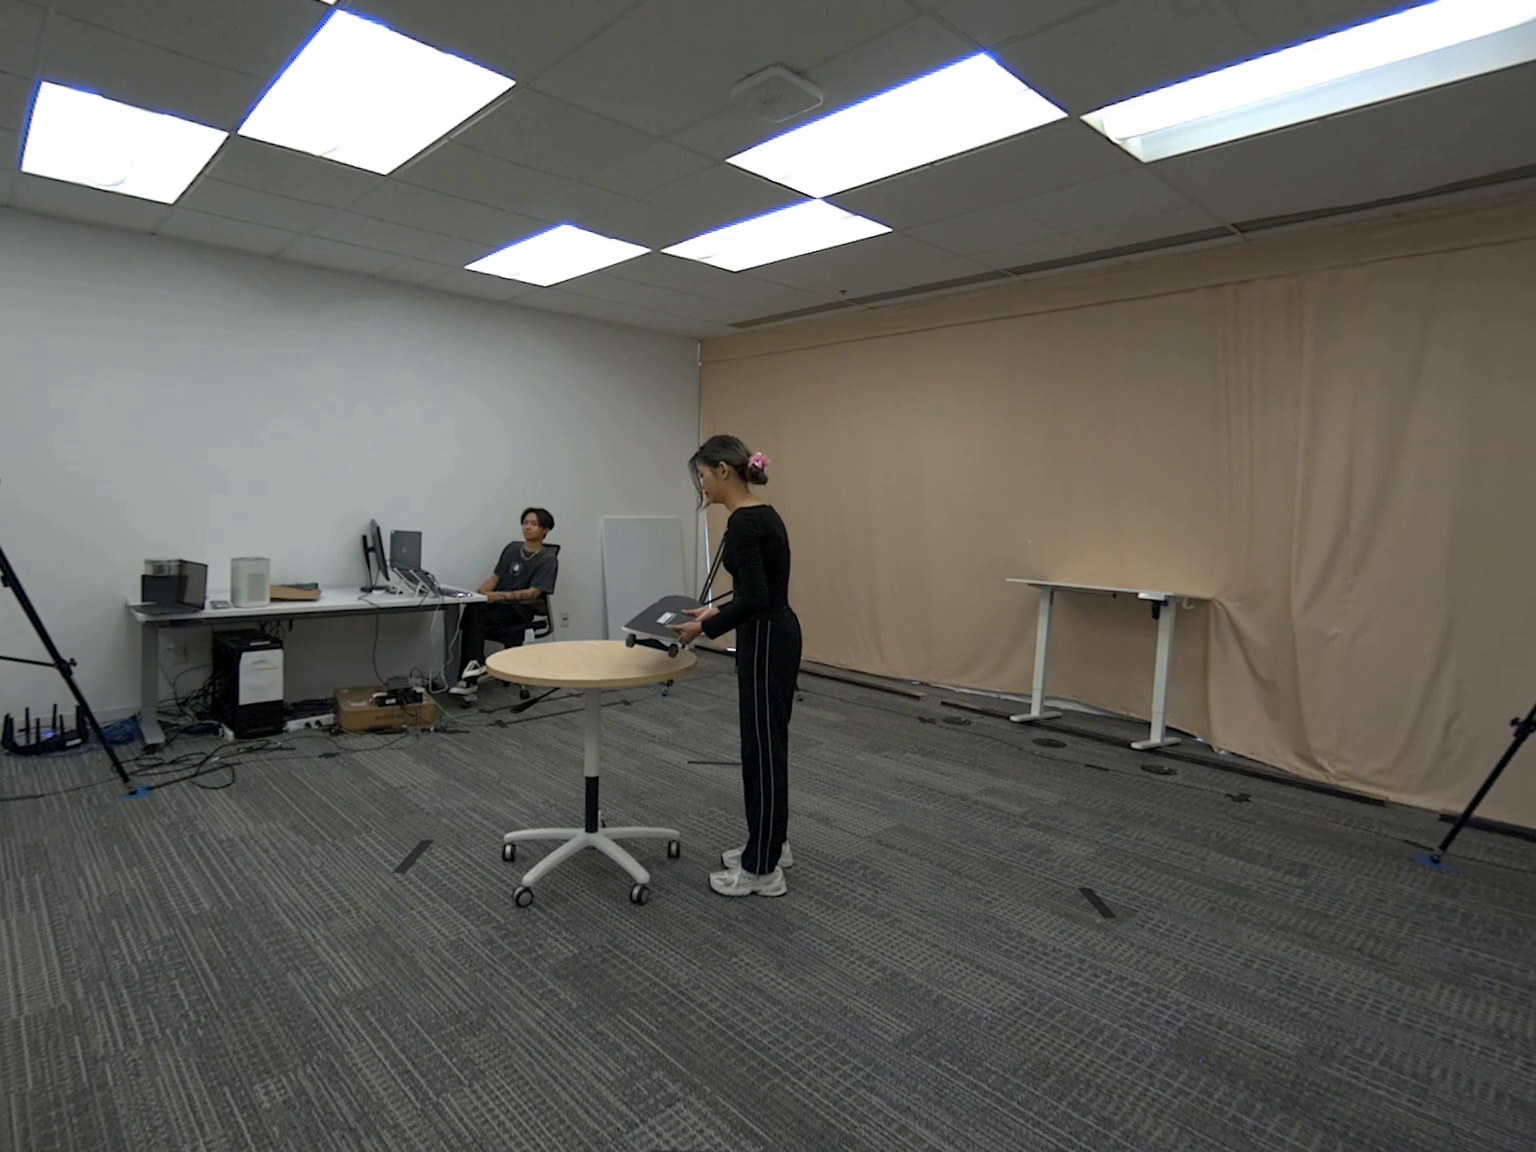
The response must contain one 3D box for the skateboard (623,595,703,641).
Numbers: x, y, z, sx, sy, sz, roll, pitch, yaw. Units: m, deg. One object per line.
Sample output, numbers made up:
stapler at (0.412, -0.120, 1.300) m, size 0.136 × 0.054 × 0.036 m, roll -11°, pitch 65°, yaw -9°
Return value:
skateboard at (-0.372, 0.195, 3.105) m, size 0.194 × 0.110 × 0.786 m, roll 13°, pitch 7°, yaw 1°
